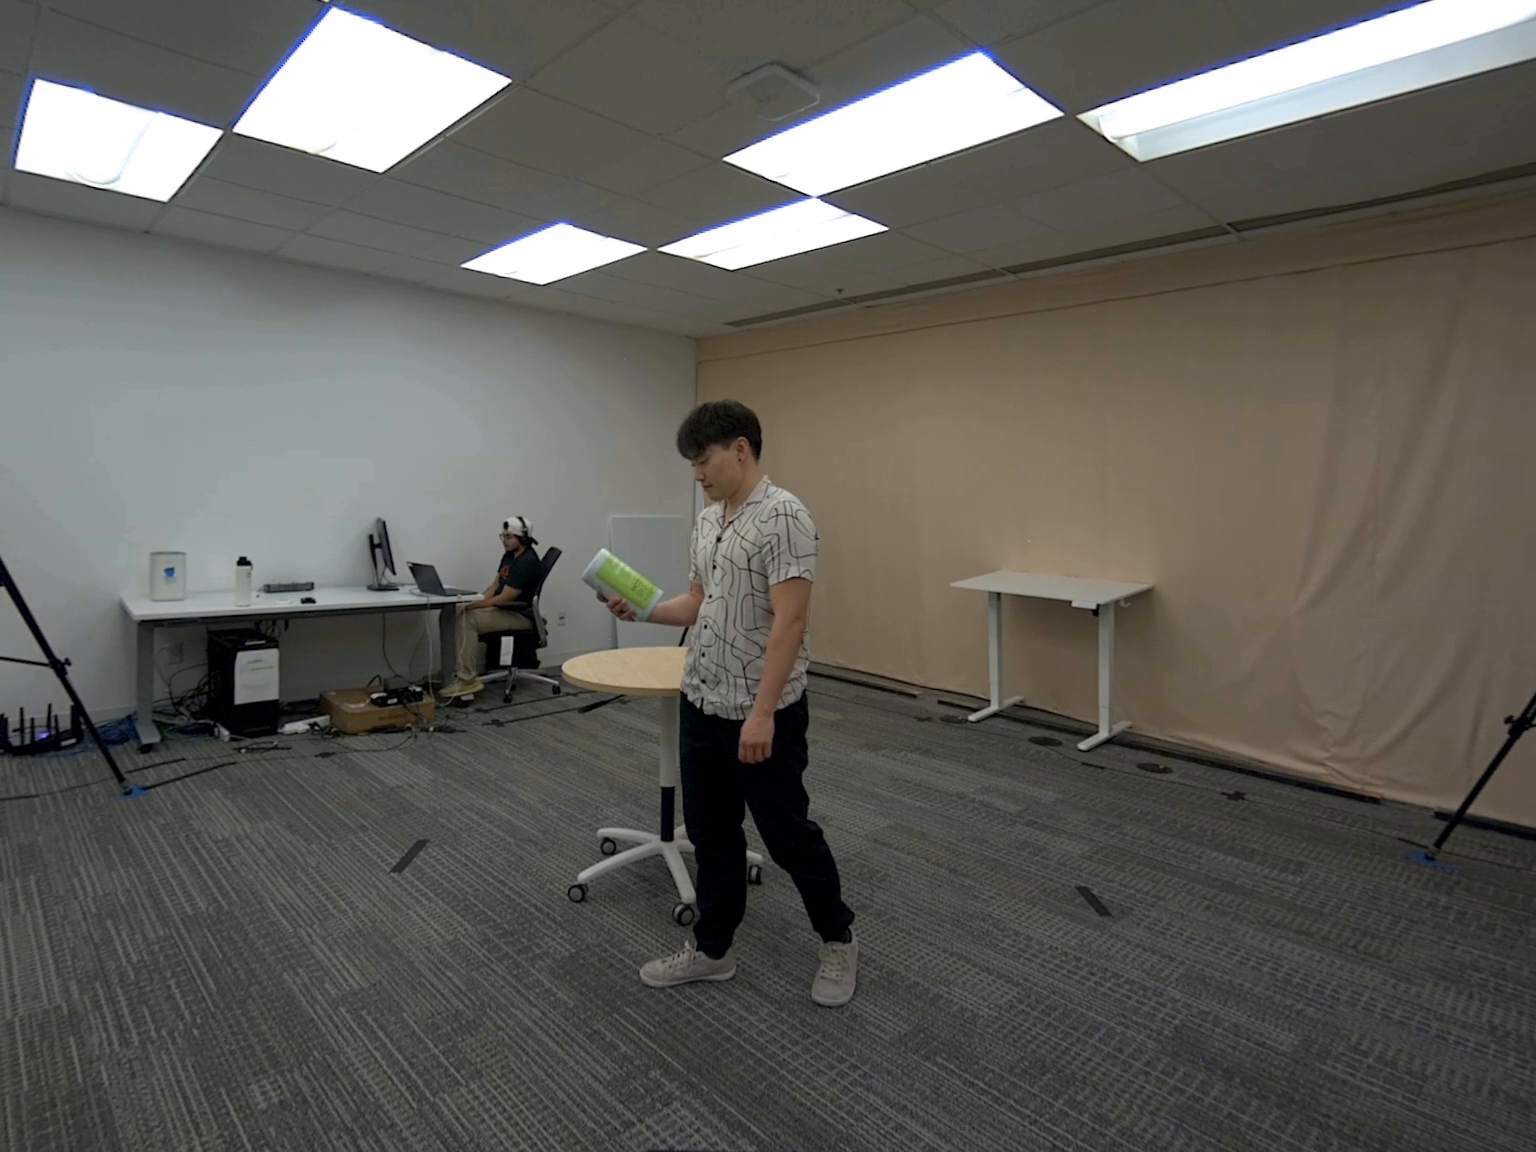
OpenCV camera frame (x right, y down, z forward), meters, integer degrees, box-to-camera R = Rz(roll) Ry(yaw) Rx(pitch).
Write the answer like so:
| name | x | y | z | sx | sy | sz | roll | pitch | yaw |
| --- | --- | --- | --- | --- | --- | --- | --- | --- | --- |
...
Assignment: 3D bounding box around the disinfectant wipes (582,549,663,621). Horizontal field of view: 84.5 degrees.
| name | x | y | z | sx | sy | sz | roll | pitch | yaw |
| --- | --- | --- | --- | --- | --- | --- | --- | --- | --- |
| disinfectant wipes | -0.412 | 0.031 | 2.360 | 0.217 | 0.118 | 0.118 | 37 | 2 | -4 |
